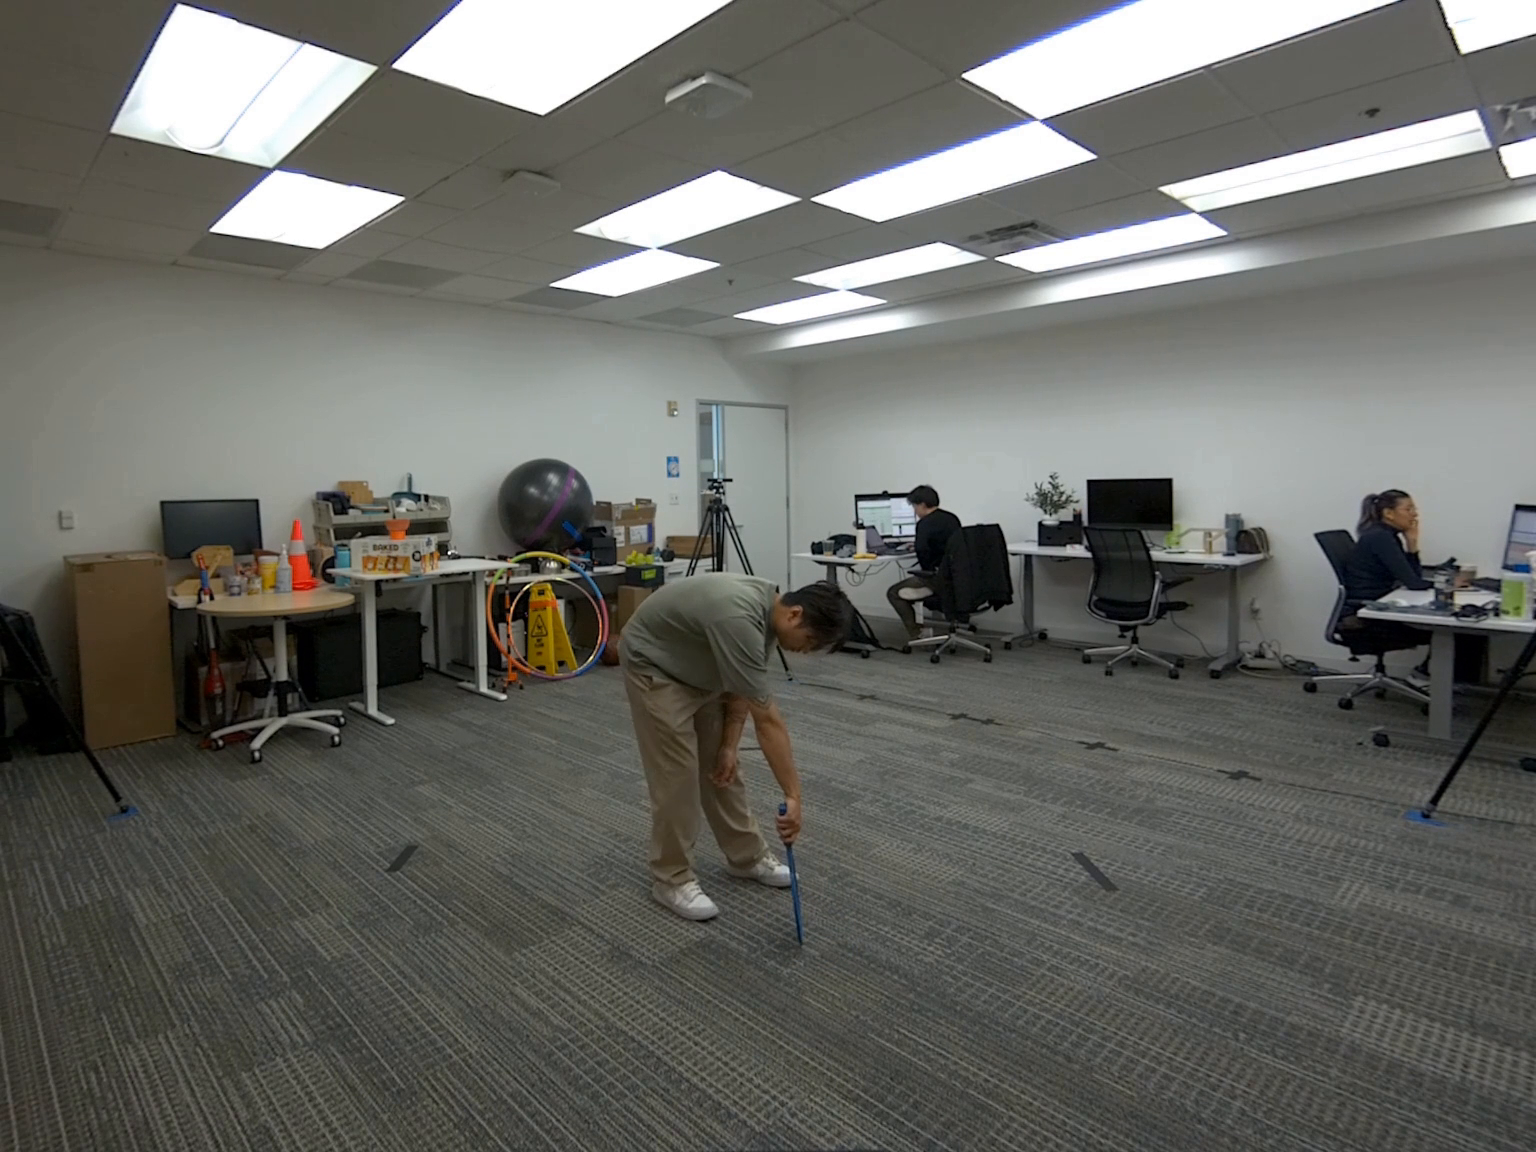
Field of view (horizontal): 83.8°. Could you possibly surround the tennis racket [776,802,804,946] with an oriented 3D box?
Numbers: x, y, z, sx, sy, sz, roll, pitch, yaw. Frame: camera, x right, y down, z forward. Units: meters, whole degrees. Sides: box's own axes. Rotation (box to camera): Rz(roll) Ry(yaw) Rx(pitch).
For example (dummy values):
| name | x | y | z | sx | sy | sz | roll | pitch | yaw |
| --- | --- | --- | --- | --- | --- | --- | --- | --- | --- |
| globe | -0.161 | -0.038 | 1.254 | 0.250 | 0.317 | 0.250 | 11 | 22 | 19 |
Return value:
| name | x | y | z | sx | sy | sz | roll | pitch | yaw |
| --- | --- | --- | --- | --- | --- | --- | --- | --- | --- |
| tennis racket | 0.081 | 0.891 | 2.576 | 0.032 | 0.428 | 0.215 | -7 | 10 | 2 |
